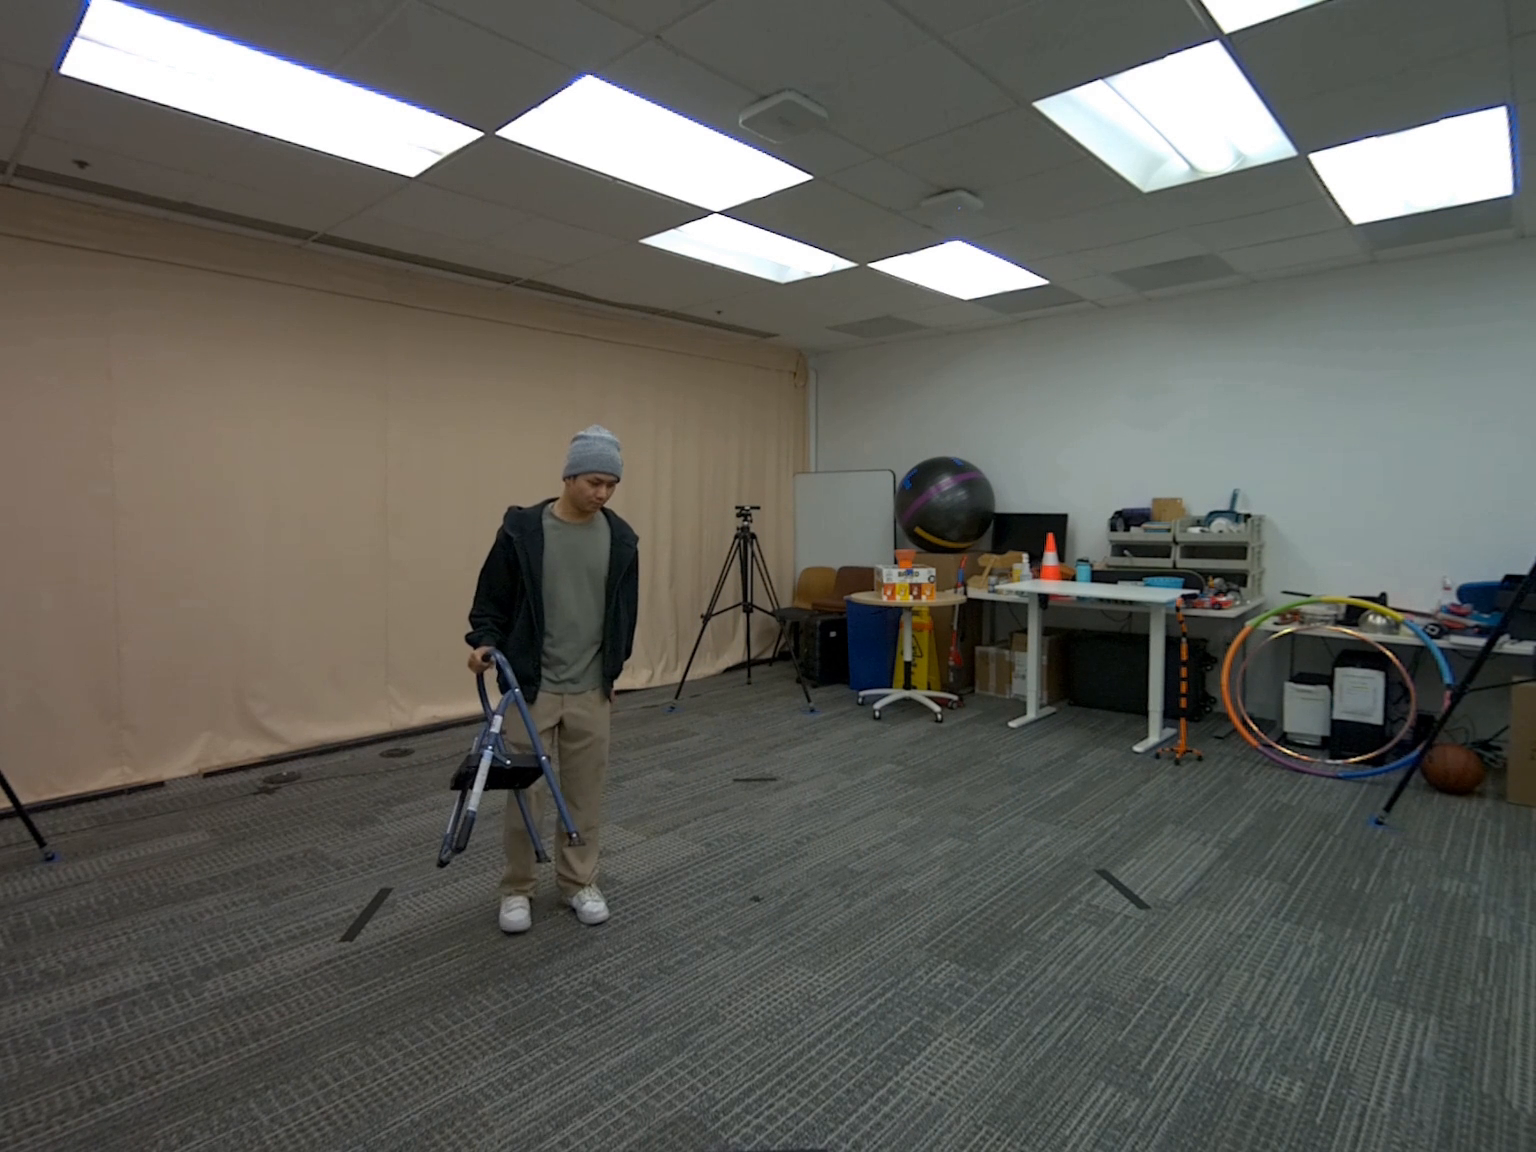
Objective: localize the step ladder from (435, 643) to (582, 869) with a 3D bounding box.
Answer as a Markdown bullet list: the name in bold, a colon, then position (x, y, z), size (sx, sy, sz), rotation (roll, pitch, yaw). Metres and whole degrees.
- **step ladder**: position (-0.774, 0.539, 2.575), size (0.340, 0.615, 0.436), rotation (8, -26, -28)
